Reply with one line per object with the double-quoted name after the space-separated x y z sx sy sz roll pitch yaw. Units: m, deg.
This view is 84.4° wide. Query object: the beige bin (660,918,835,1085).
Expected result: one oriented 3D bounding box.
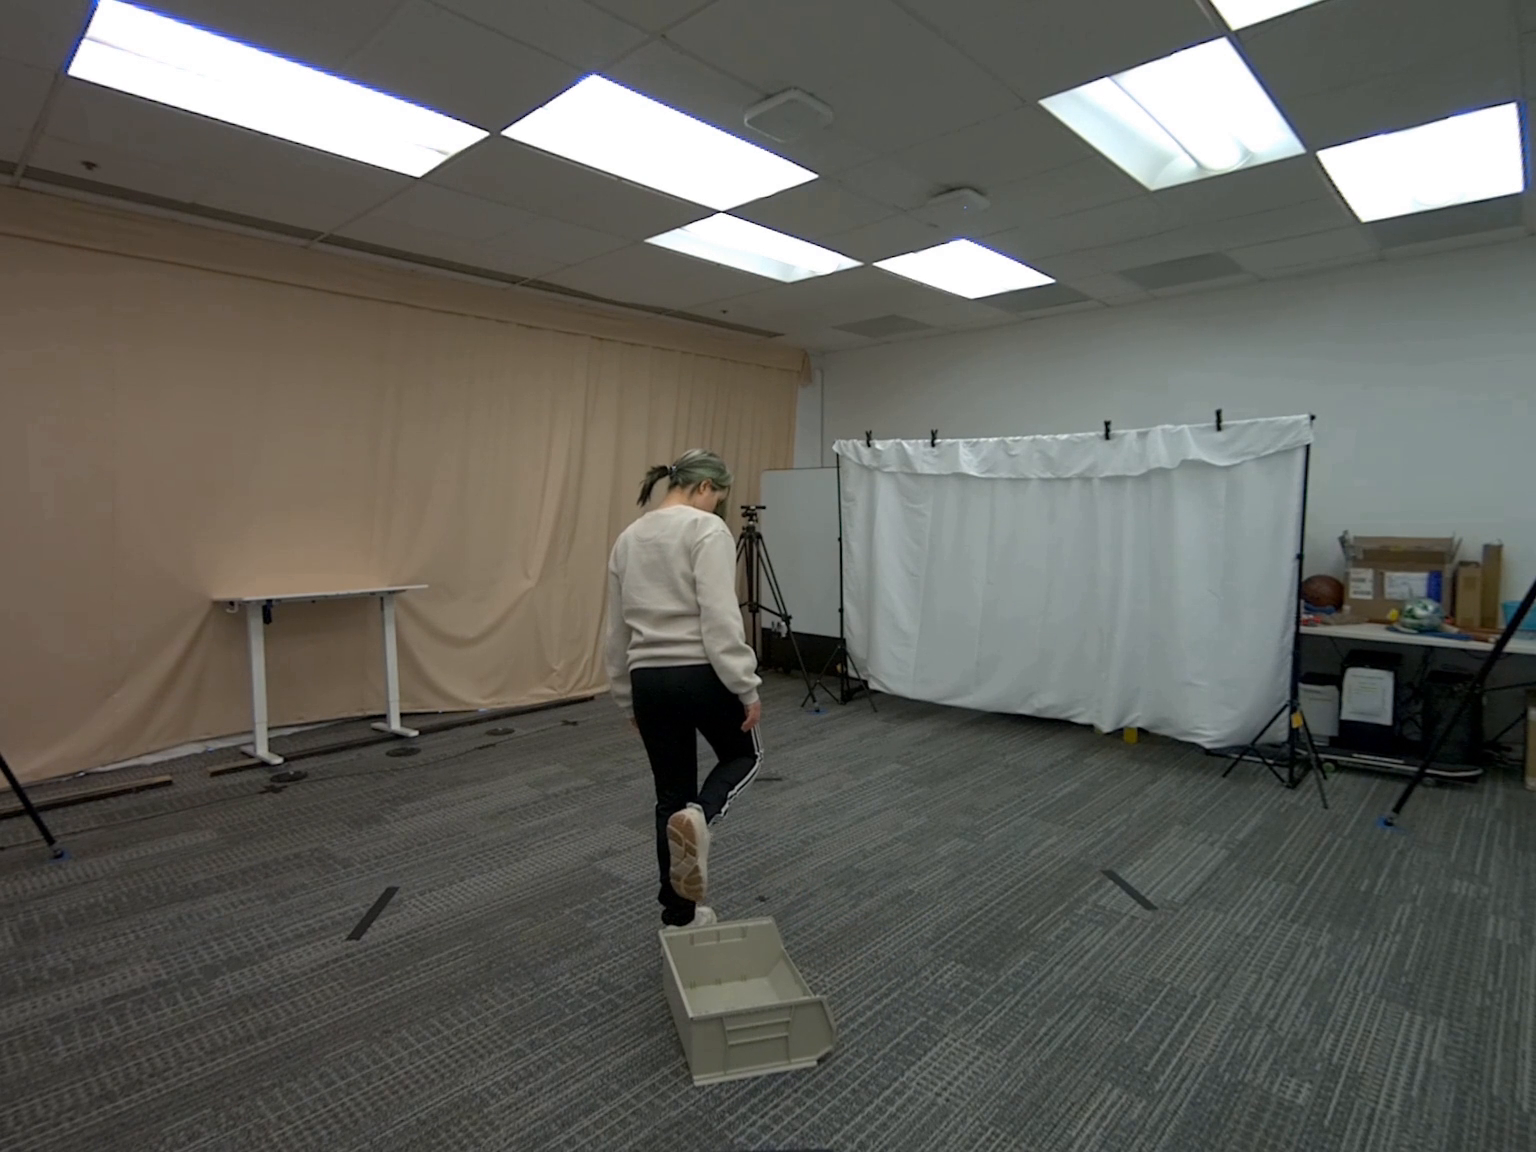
-0.066 1.116 2.251 0.371 0.188 0.431 -2 6 -17 "beige bin"
